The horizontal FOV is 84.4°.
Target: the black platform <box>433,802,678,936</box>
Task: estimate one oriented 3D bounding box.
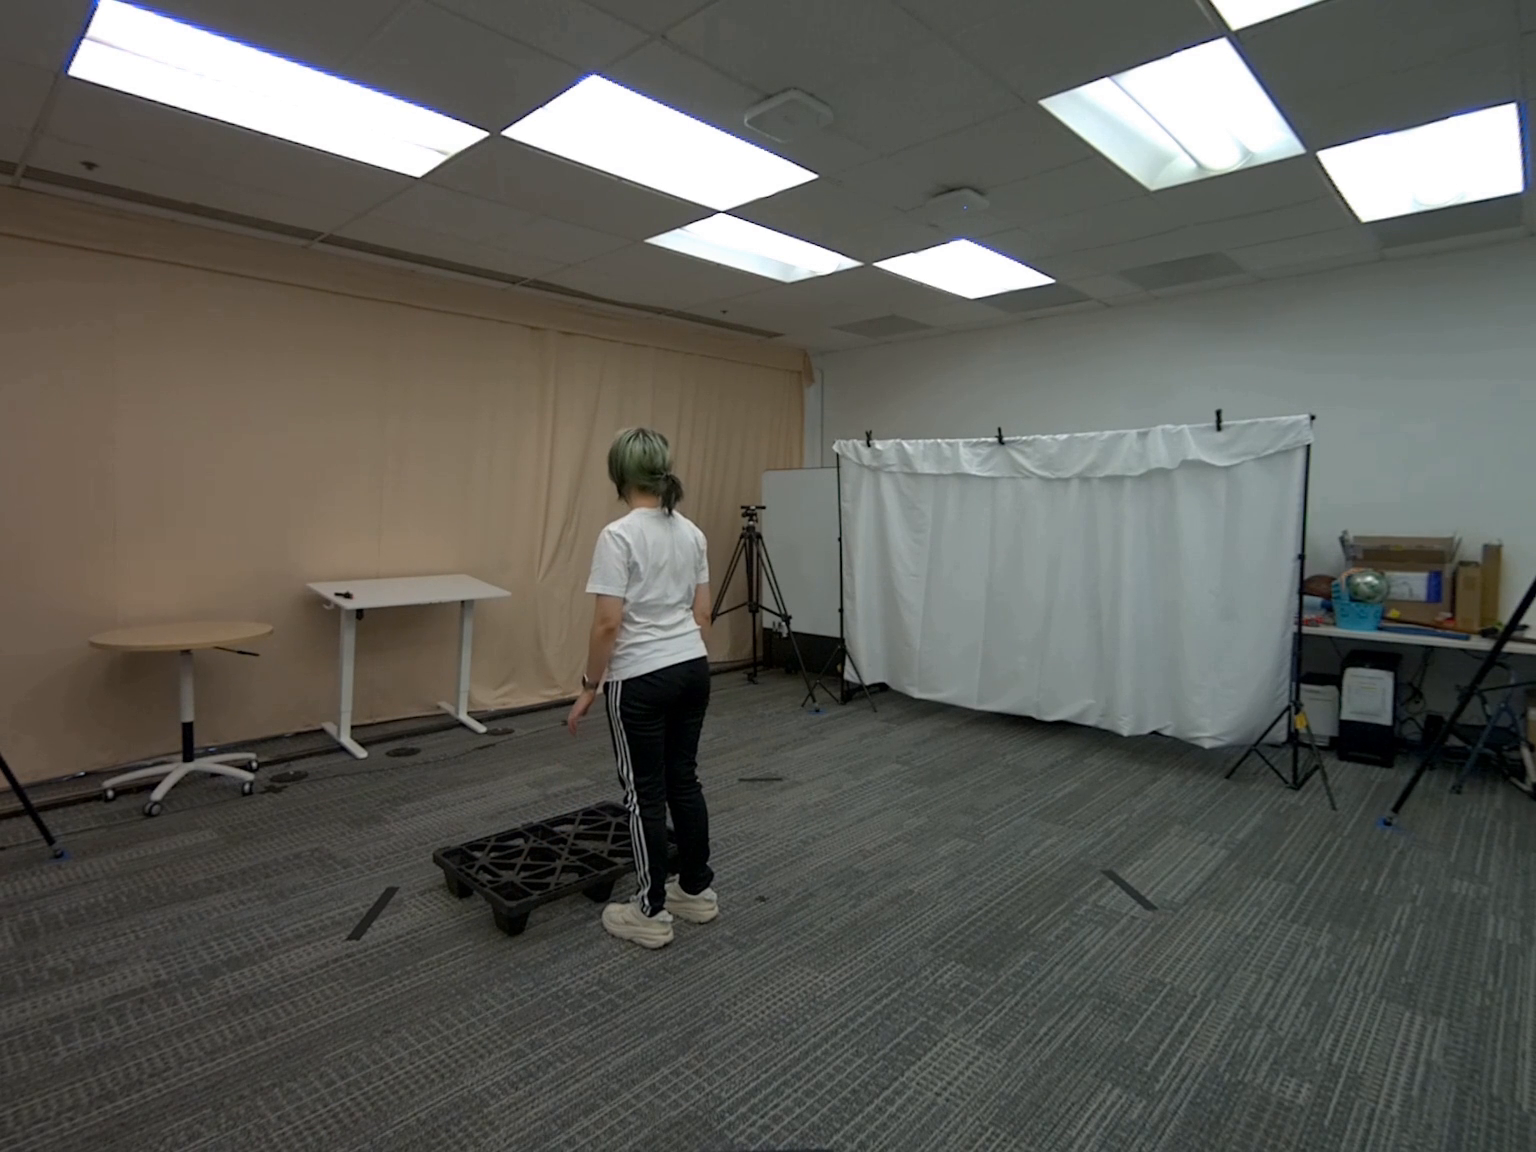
[{"bbox_3d":[-0.739,1.074,3.141,0.781,0.143,0.625,-5,7,-44],"label":"black platform"}]
